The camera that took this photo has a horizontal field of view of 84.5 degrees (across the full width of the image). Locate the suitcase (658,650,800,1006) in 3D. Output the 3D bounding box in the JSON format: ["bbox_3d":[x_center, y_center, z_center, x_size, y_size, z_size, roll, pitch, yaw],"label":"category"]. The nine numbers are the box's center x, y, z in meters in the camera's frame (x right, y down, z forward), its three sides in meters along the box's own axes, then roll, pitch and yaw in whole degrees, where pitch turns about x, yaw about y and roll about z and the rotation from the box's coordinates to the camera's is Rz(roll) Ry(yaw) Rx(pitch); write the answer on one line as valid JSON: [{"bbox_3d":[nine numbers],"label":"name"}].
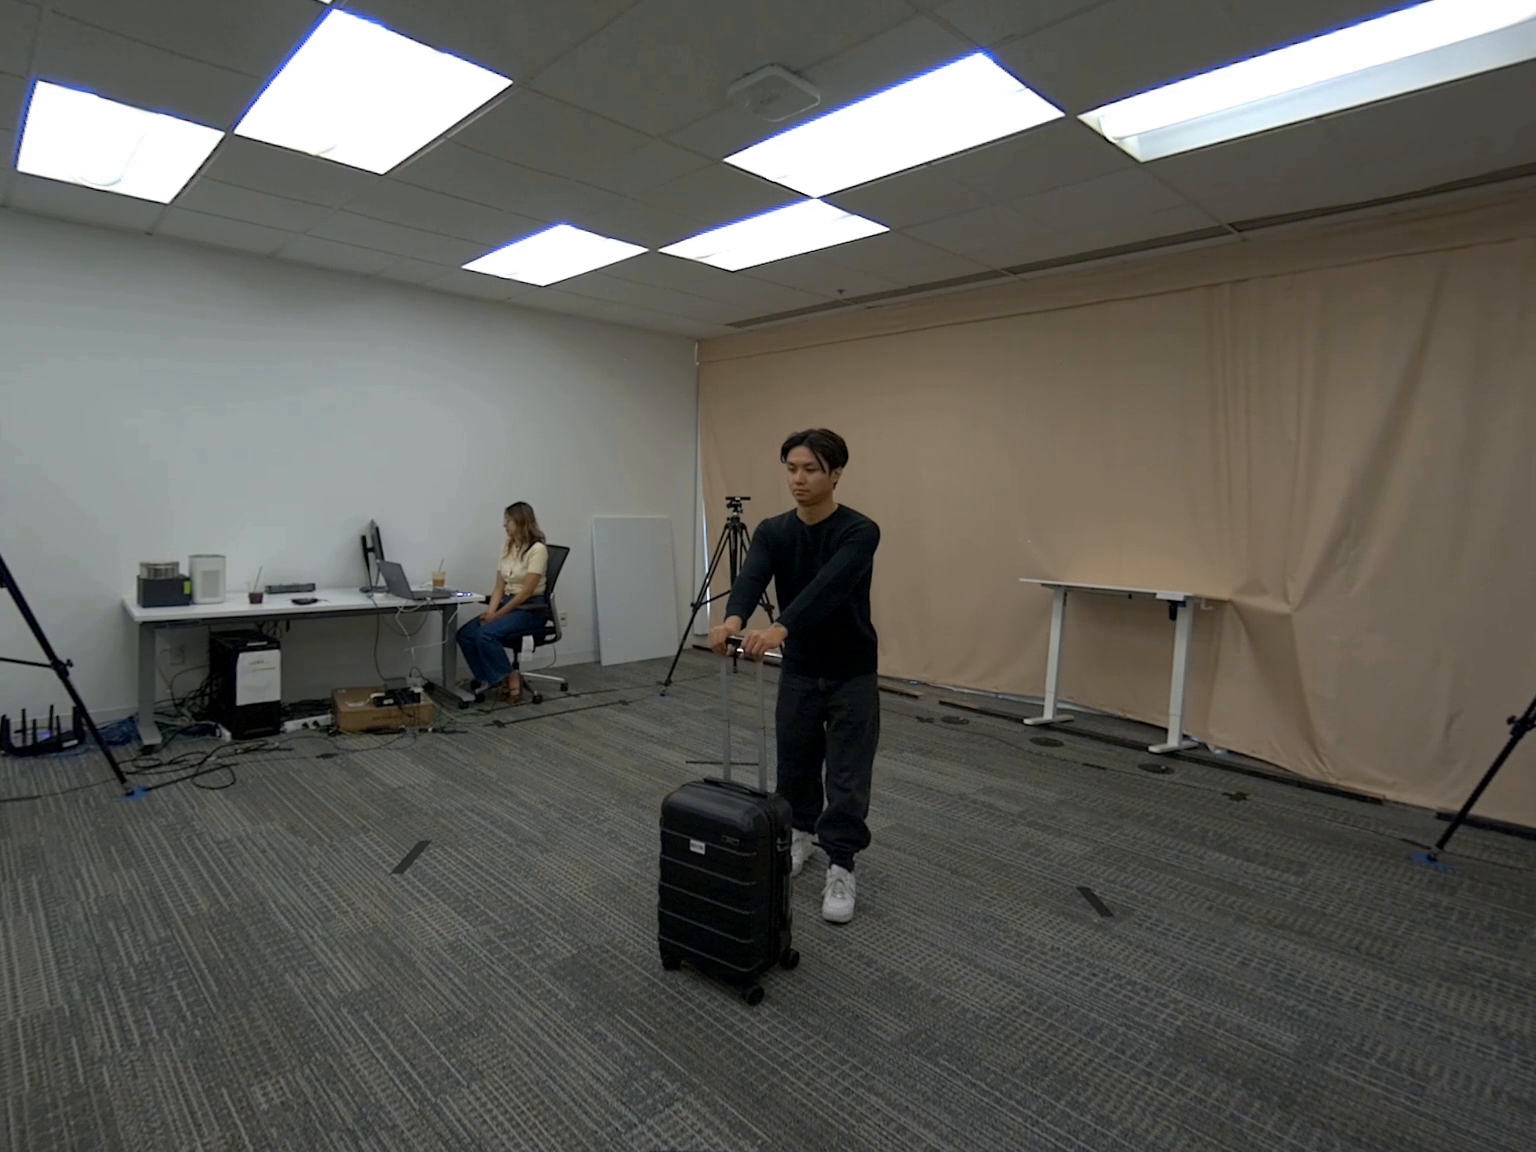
[{"bbox_3d":[-0.130,0.695,2.446,0.393,0.974,0.252,4,7,32],"label":"suitcase"}]
